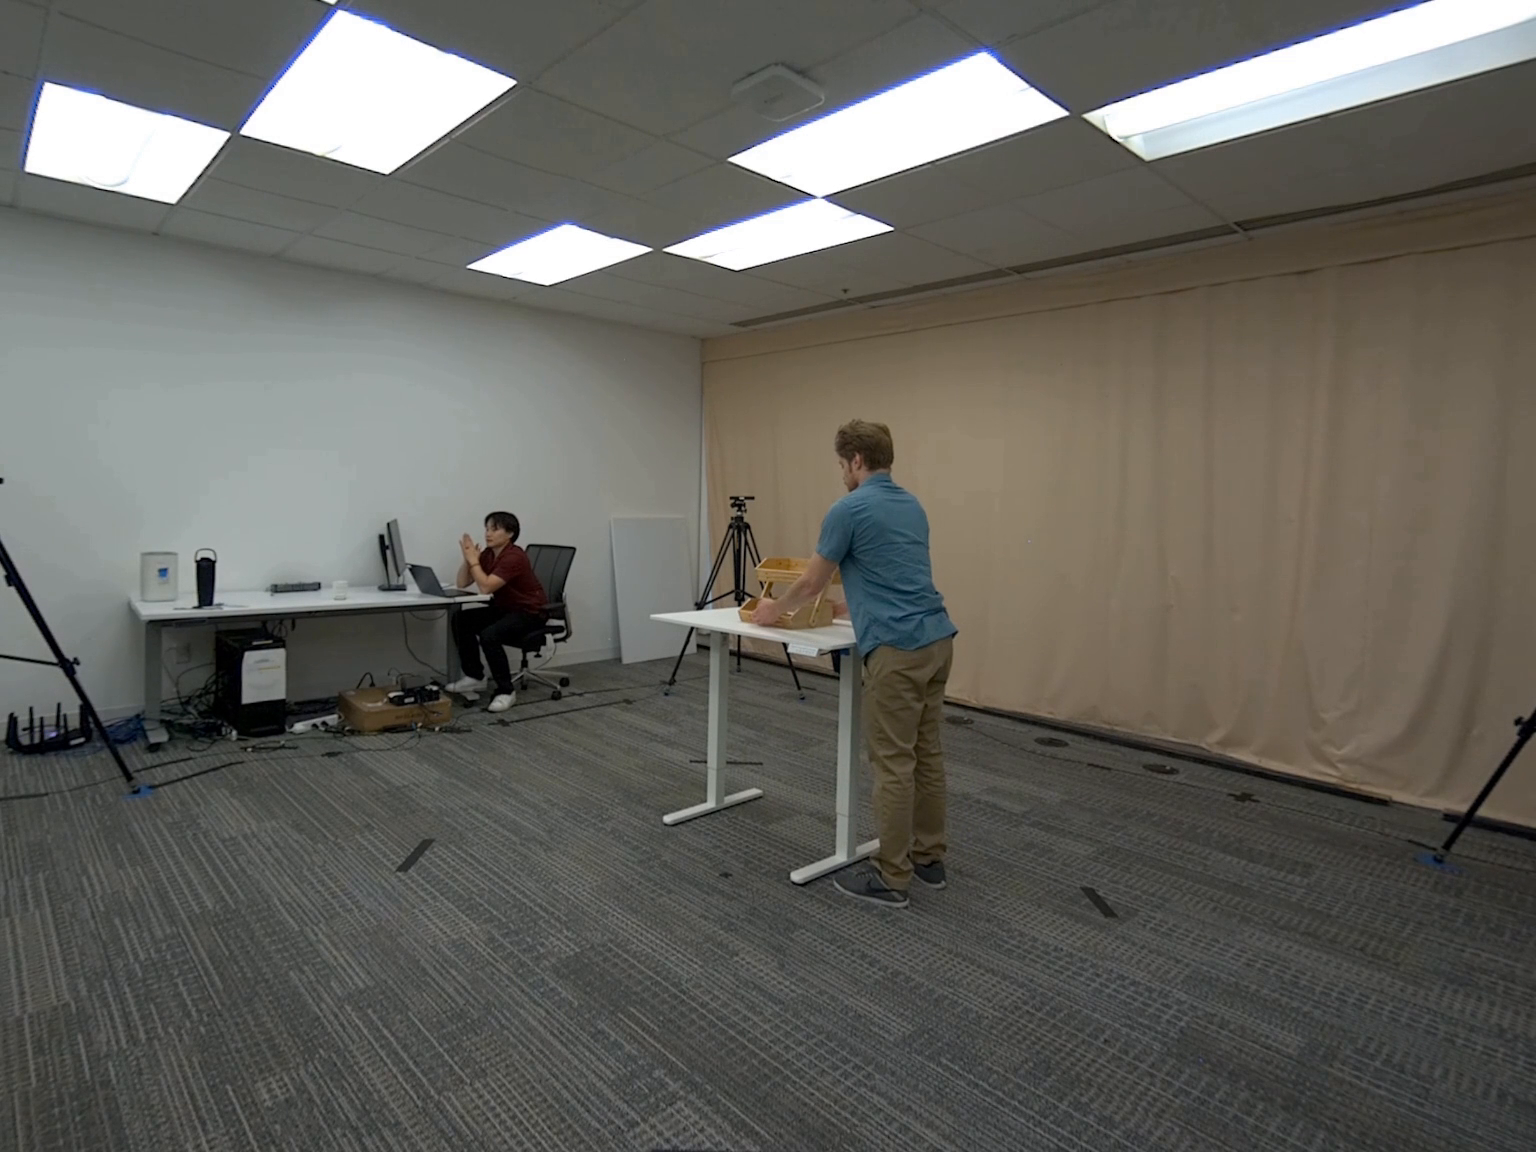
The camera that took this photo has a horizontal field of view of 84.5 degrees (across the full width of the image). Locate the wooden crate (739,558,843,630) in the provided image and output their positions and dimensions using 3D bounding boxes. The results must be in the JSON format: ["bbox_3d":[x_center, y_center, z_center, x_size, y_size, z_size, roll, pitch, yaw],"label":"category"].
[{"bbox_3d":[0.083,0.063,3.468,0.295,0.273,0.333,-1,4,-44],"label":"wooden crate"}]
